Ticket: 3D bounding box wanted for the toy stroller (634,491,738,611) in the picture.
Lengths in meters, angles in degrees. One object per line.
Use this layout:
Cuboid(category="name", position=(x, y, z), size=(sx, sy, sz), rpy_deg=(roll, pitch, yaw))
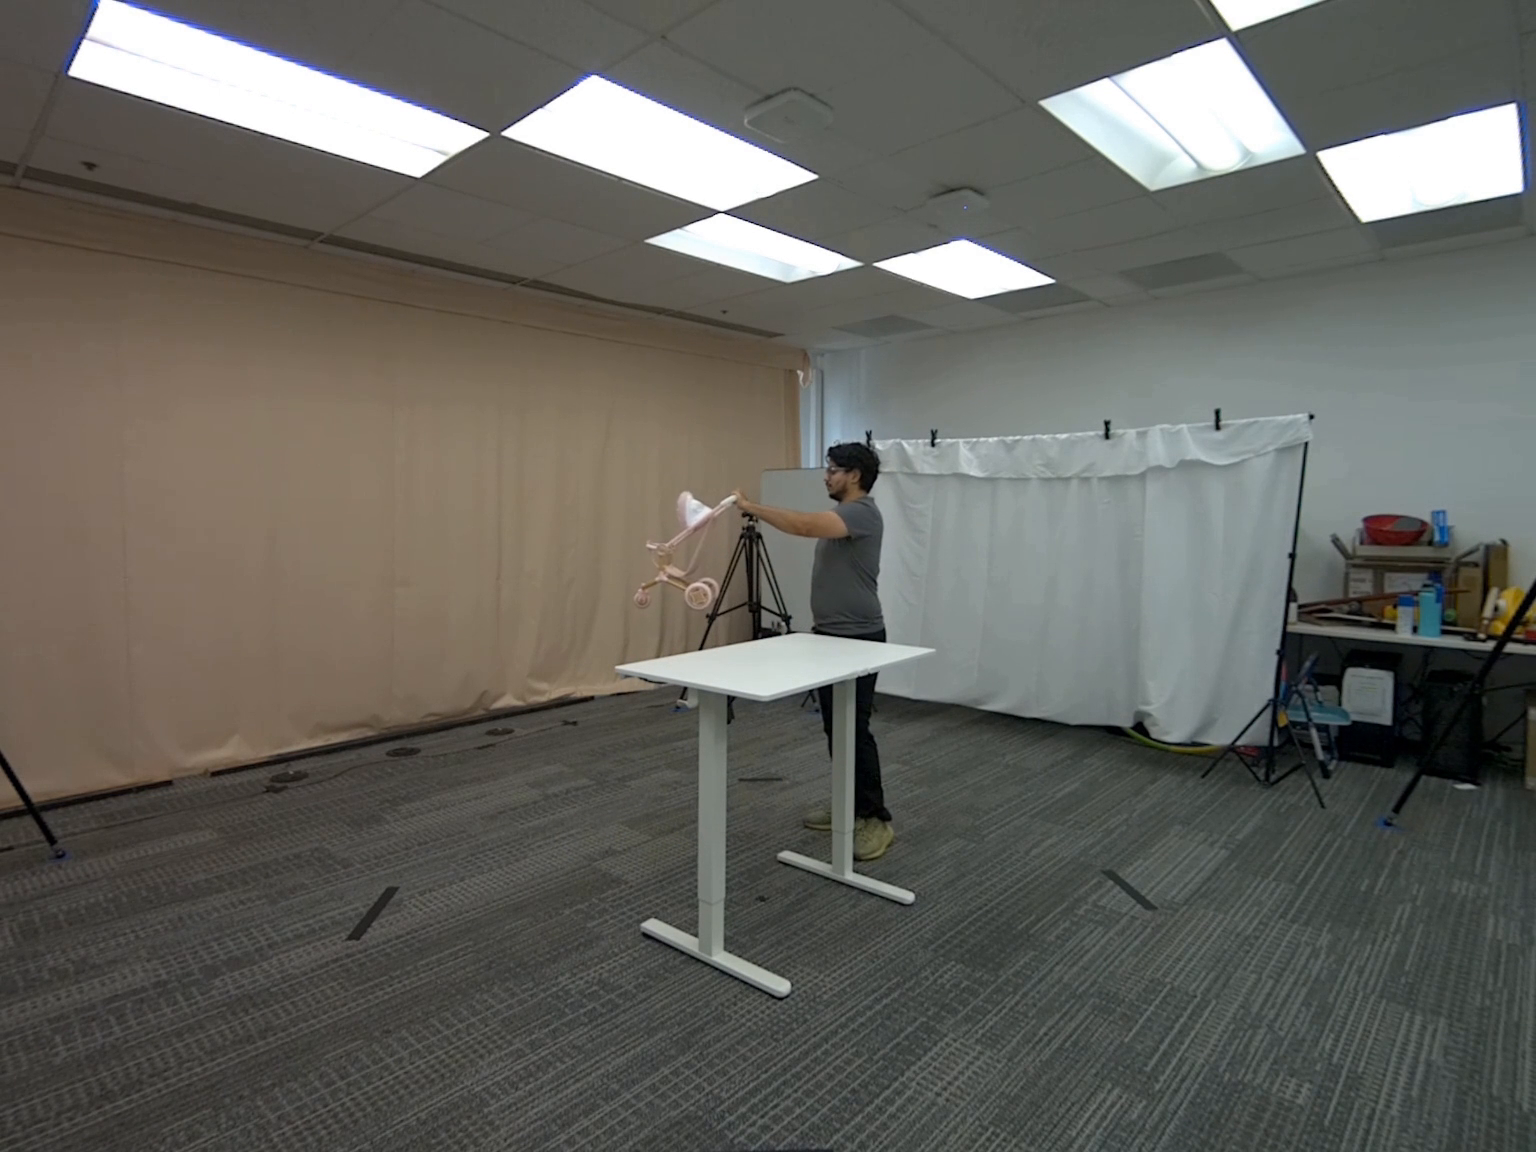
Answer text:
Cuboid(category="toy stroller", position=(-0.340, -0.097, 3.434), size=(0.345, 0.534, 0.279), rpy_deg=(12, 5, 9))
